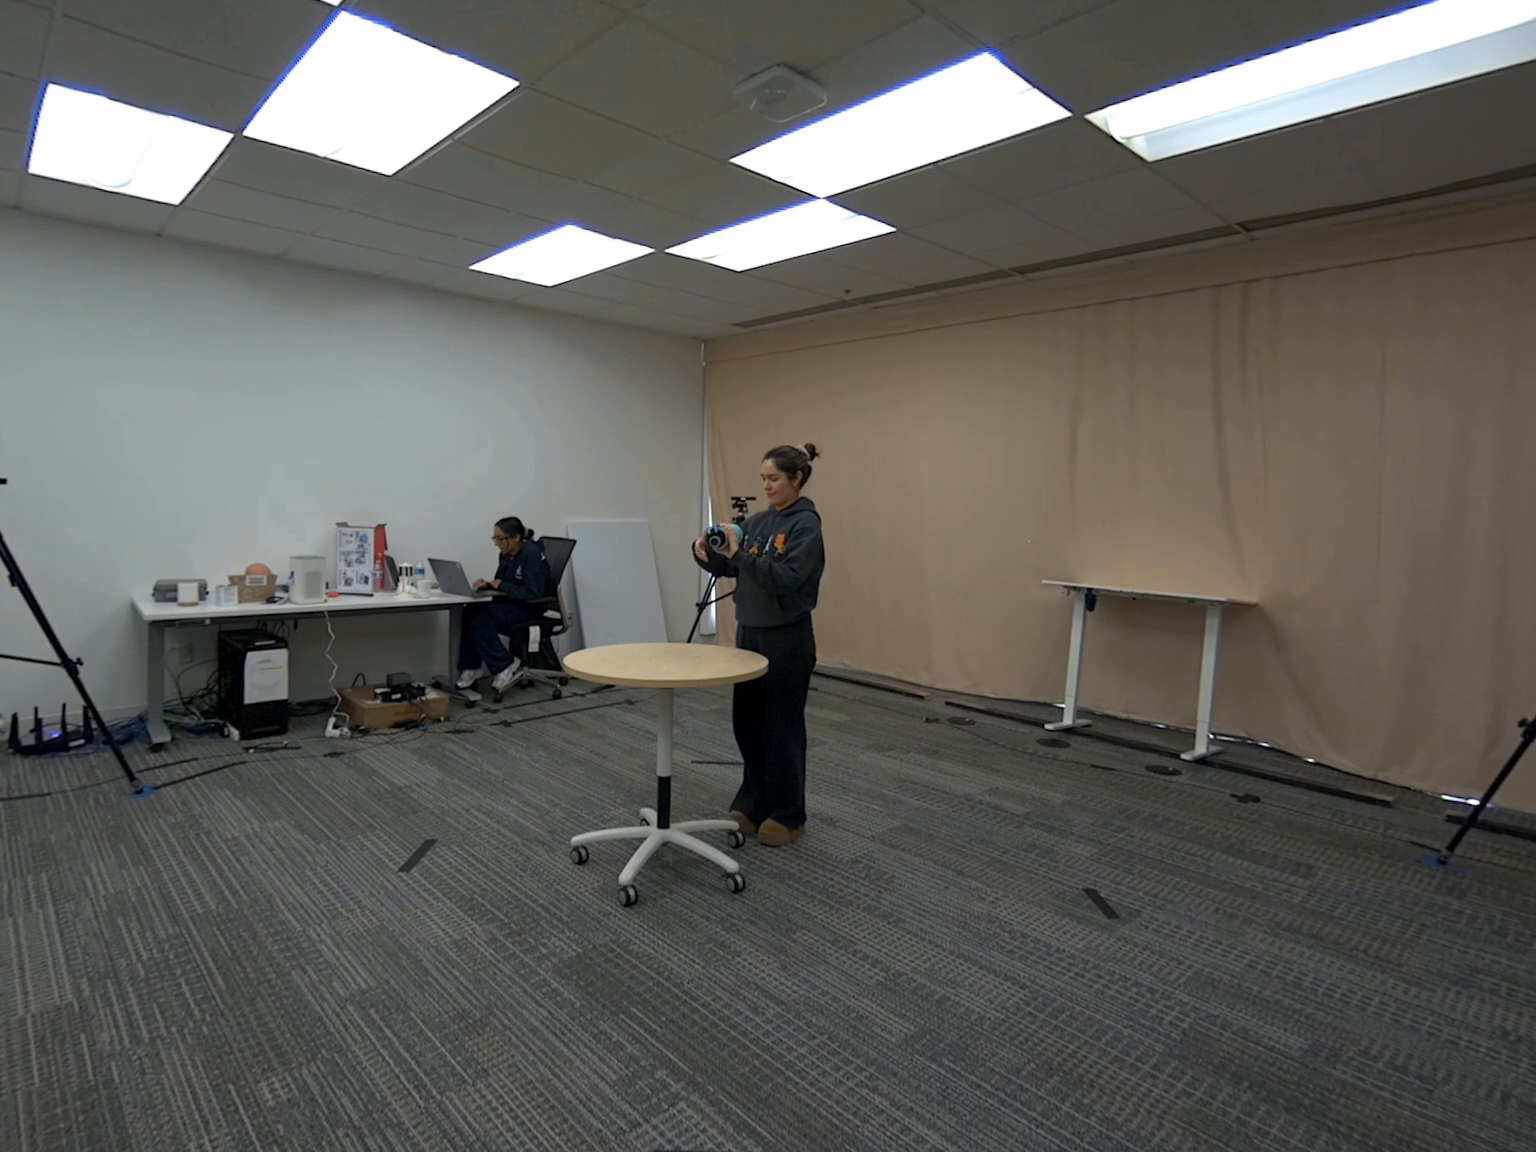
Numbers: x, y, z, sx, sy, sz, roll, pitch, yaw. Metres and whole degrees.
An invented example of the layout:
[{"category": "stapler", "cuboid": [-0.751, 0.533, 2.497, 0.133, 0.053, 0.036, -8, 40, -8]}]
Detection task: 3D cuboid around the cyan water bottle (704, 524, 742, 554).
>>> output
[{"category": "cyan water bottle", "cuboid": [-0.188, -0.152, 3.287, 0.093, 0.092, 0.282, 2, 4, 9]}]
